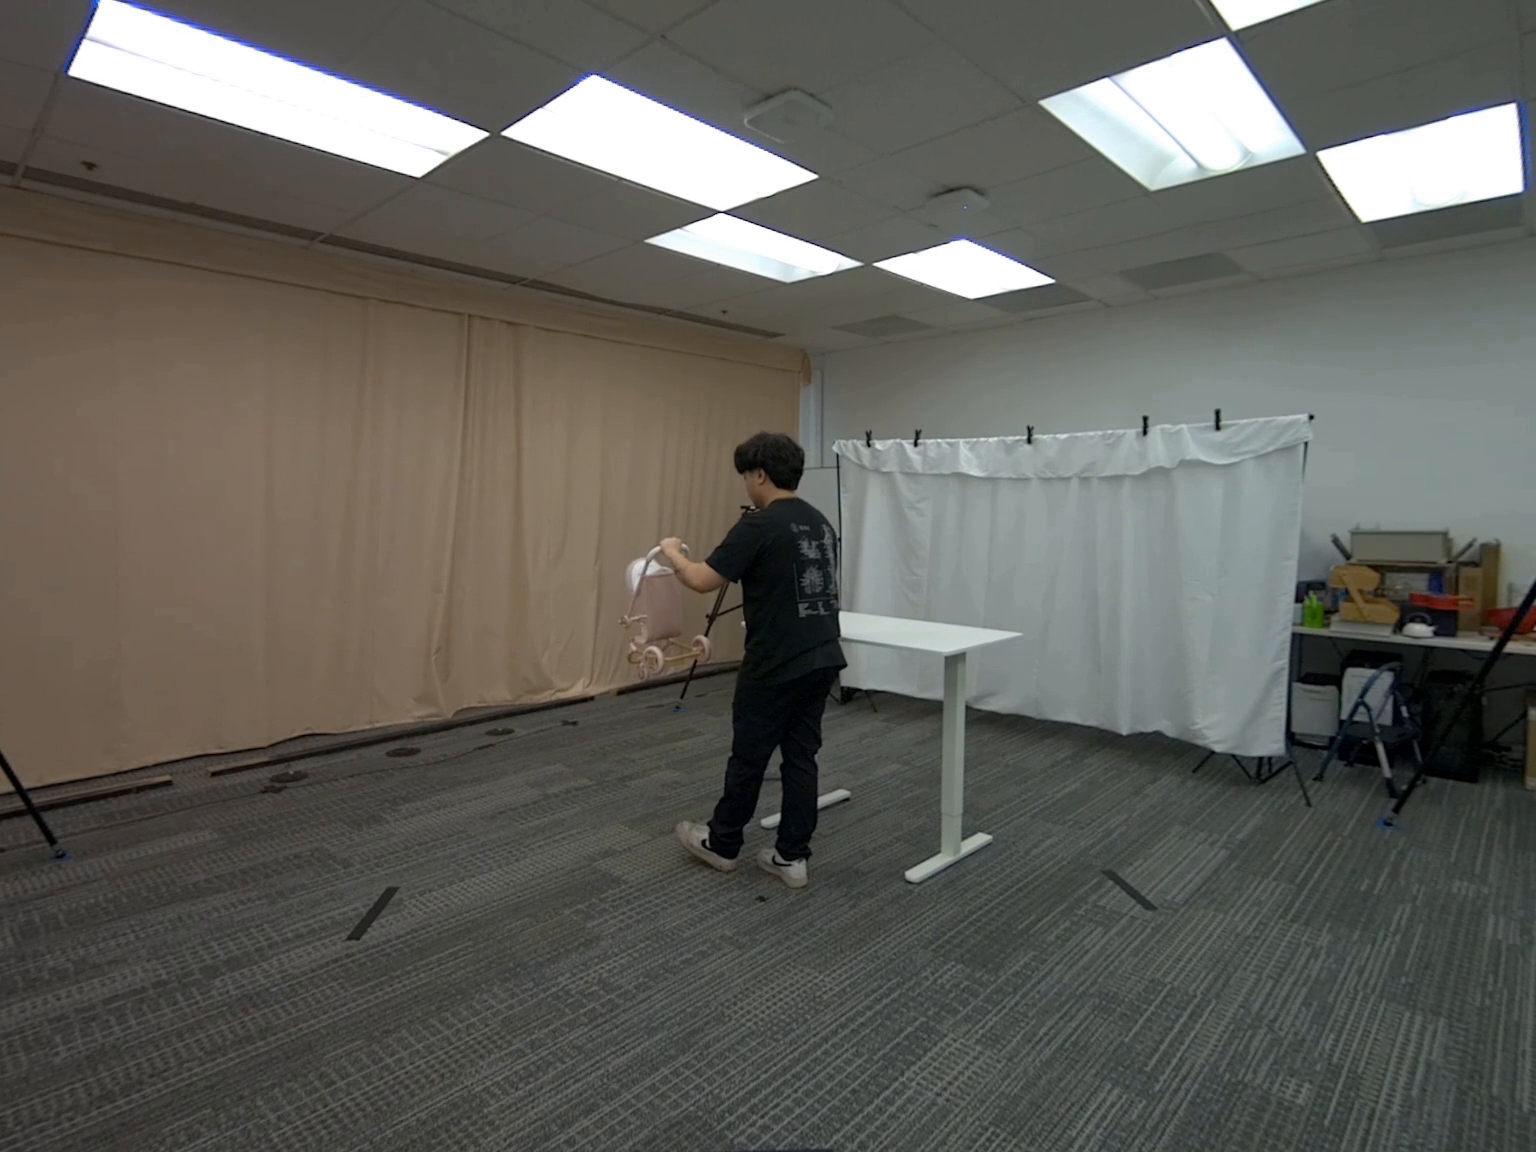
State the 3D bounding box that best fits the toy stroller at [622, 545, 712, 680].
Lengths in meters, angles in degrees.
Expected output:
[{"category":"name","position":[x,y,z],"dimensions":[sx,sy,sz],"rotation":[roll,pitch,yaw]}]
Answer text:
[{"category":"toy stroller","position":[-0.448,0.162,3.371],"dimensions":[0.273,0.535,0.351],"rotation":[-7,0,-40]}]
